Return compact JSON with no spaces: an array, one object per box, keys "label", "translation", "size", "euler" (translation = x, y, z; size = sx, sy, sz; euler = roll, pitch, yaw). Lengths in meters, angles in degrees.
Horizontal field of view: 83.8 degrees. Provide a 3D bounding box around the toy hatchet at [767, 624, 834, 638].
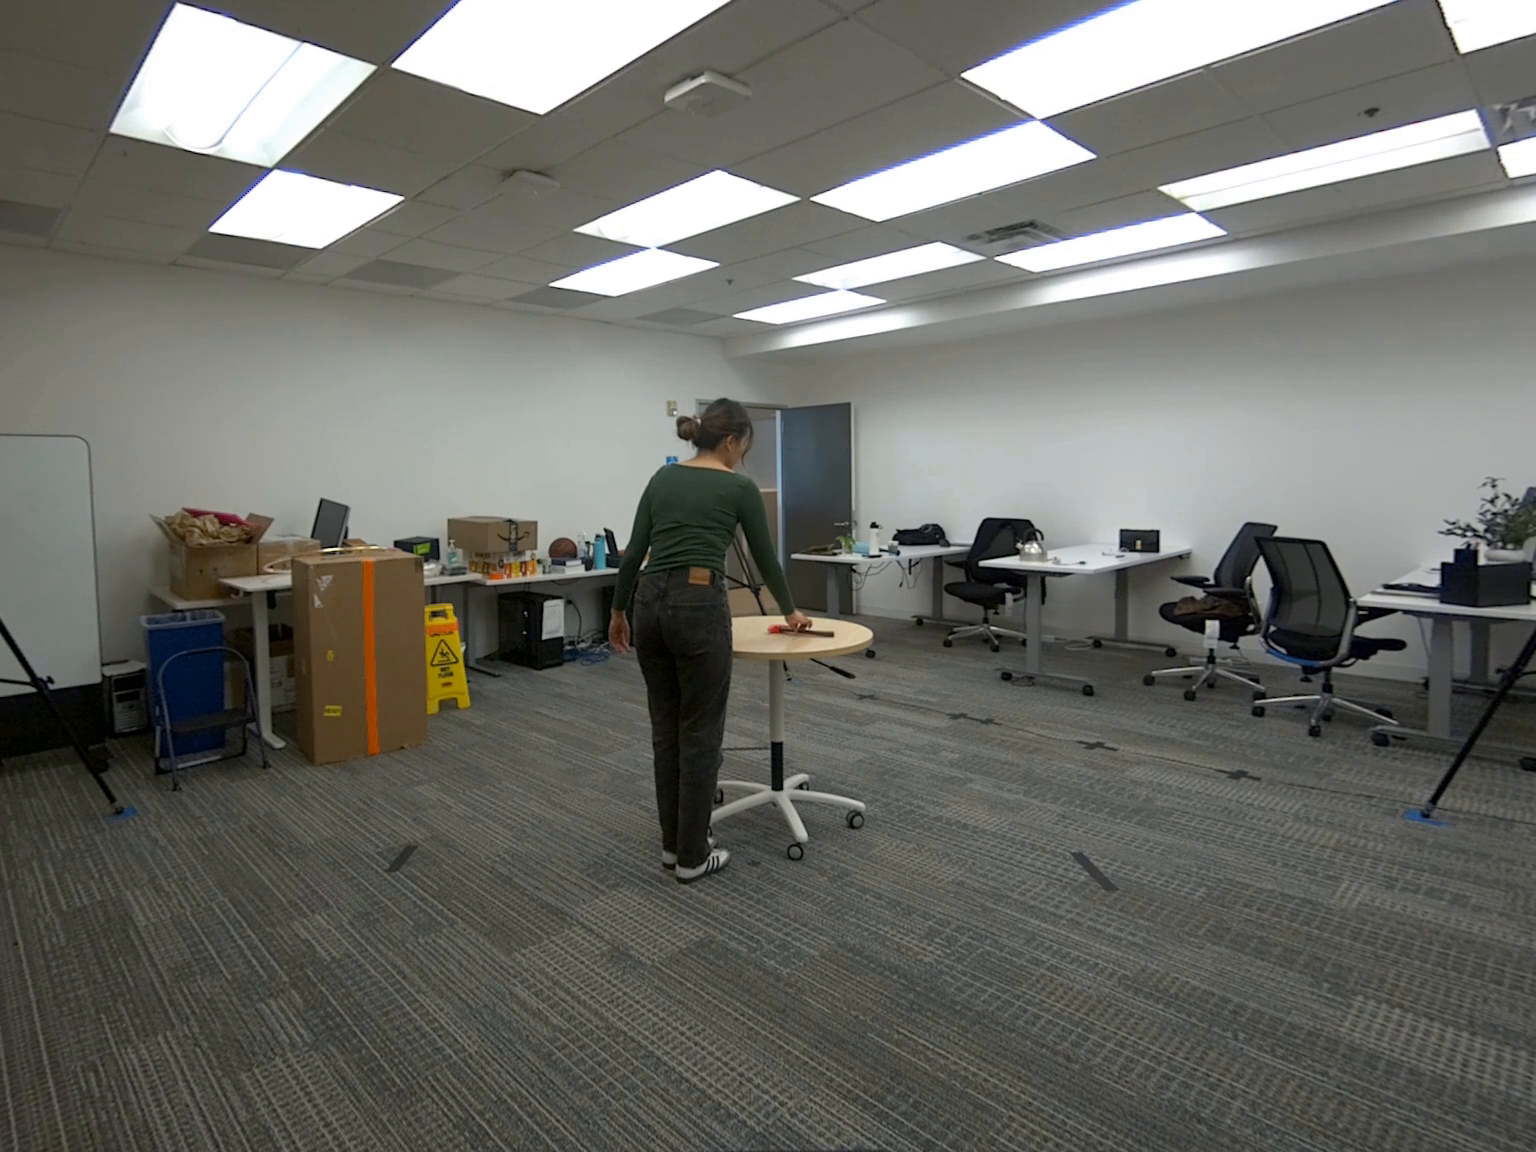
[{"label":"toy hatchet","translation":[0.148,0.219,3.377],"size":[0.275,0.029,0.129],"euler":[3,5,17]}]
